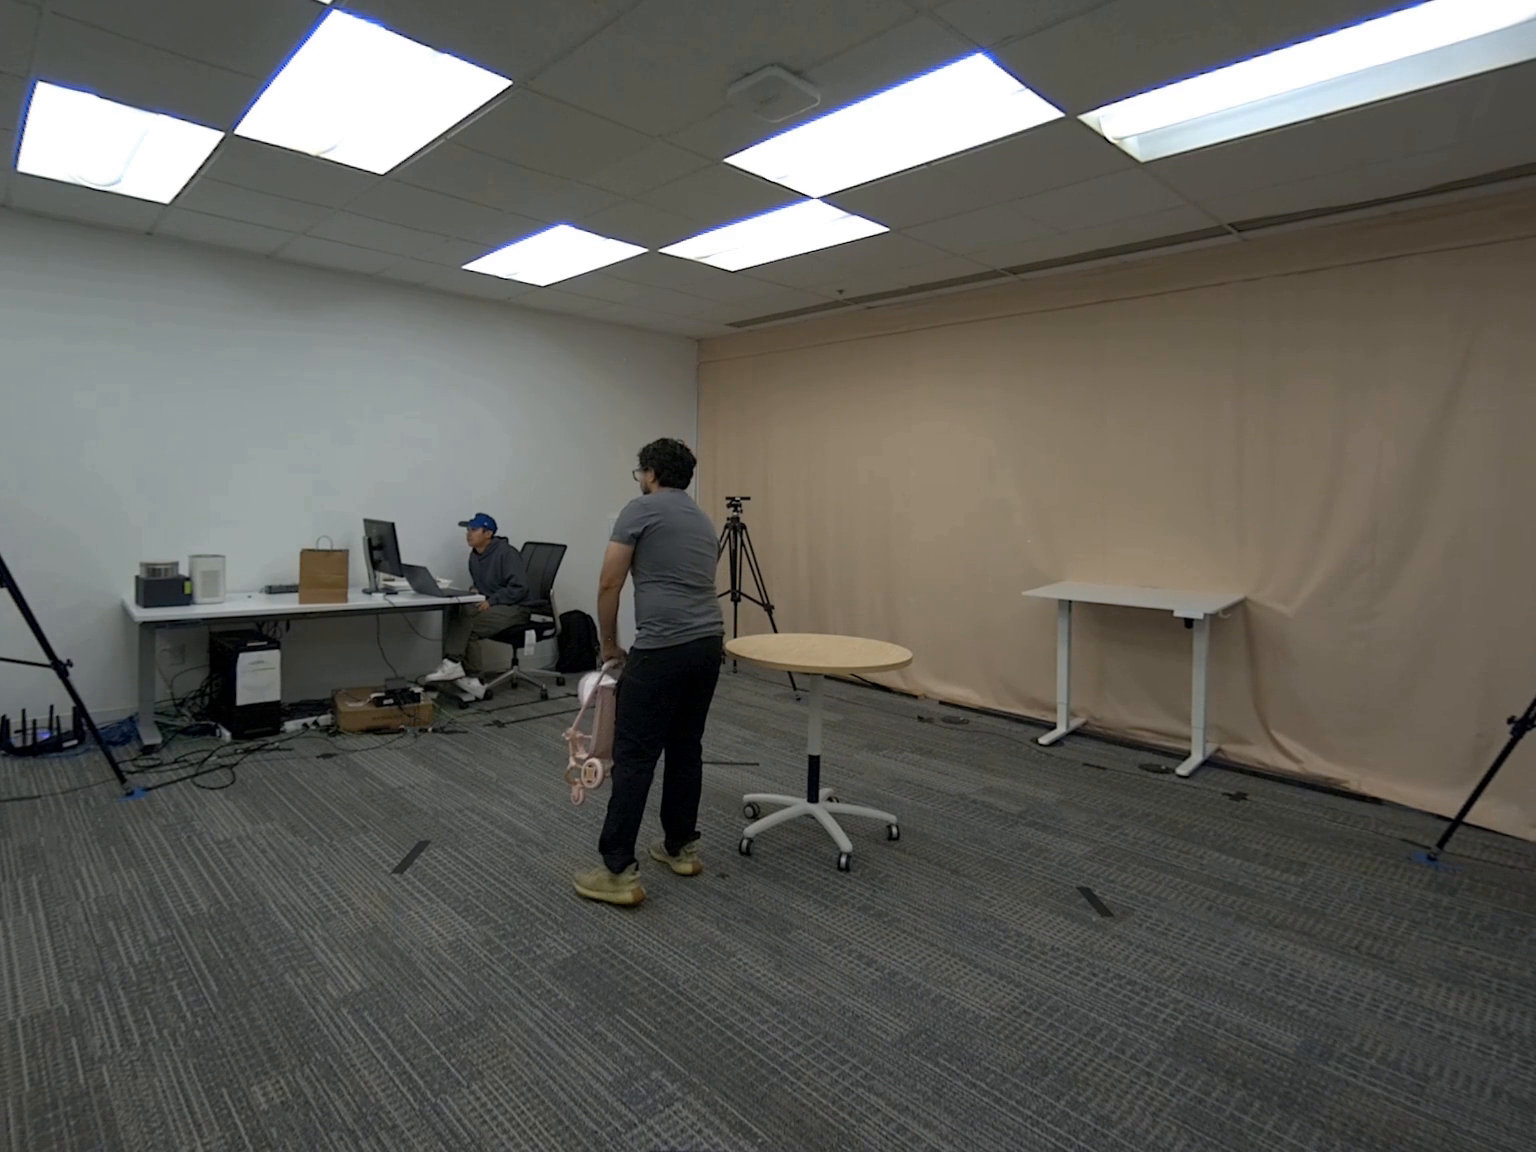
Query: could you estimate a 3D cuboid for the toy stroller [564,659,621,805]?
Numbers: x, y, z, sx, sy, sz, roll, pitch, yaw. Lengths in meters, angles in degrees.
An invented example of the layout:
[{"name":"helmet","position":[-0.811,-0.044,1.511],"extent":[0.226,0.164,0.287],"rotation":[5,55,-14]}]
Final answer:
[{"name":"toy stroller","position":[-0.638,0.607,3.224],"extent":[0.347,0.541,0.273],"rotation":[-16,-21,42]}]
